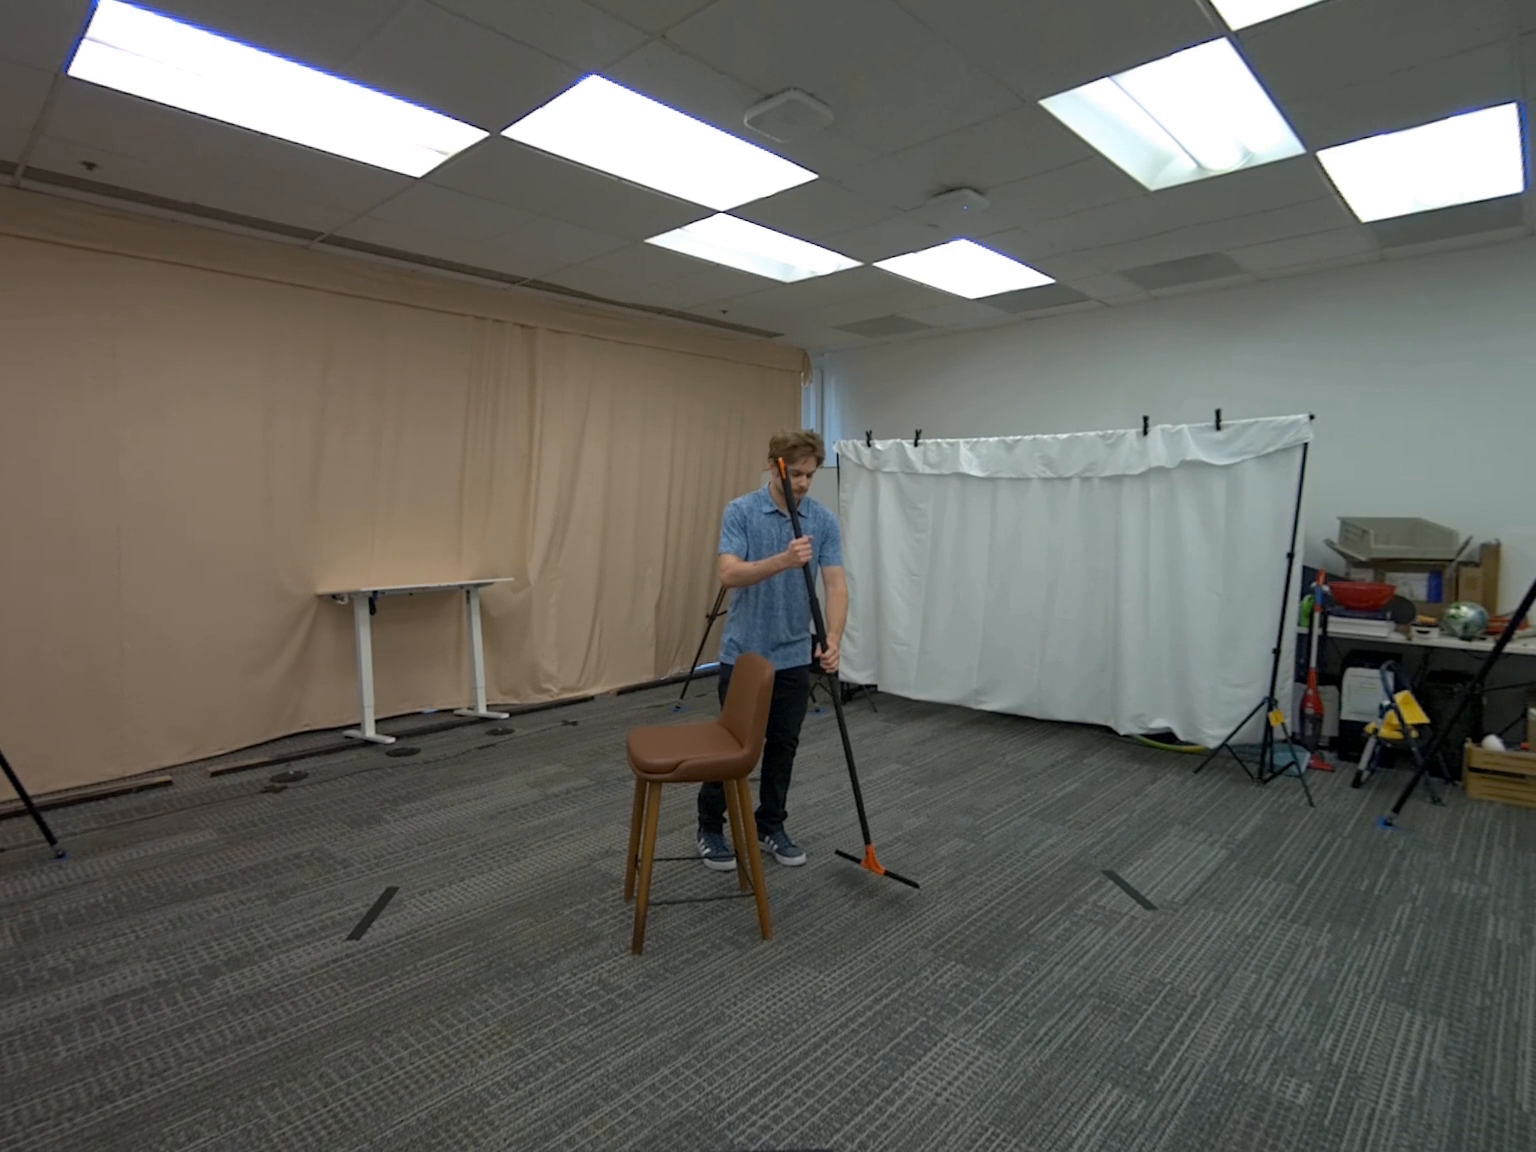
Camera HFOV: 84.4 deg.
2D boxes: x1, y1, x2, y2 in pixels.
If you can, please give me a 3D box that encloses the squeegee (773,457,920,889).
[{"bbox_3d":[0.231,0.348,2.997,0.052,1.532,0.448,-14,4,-28],"label":"squeegee"}]
